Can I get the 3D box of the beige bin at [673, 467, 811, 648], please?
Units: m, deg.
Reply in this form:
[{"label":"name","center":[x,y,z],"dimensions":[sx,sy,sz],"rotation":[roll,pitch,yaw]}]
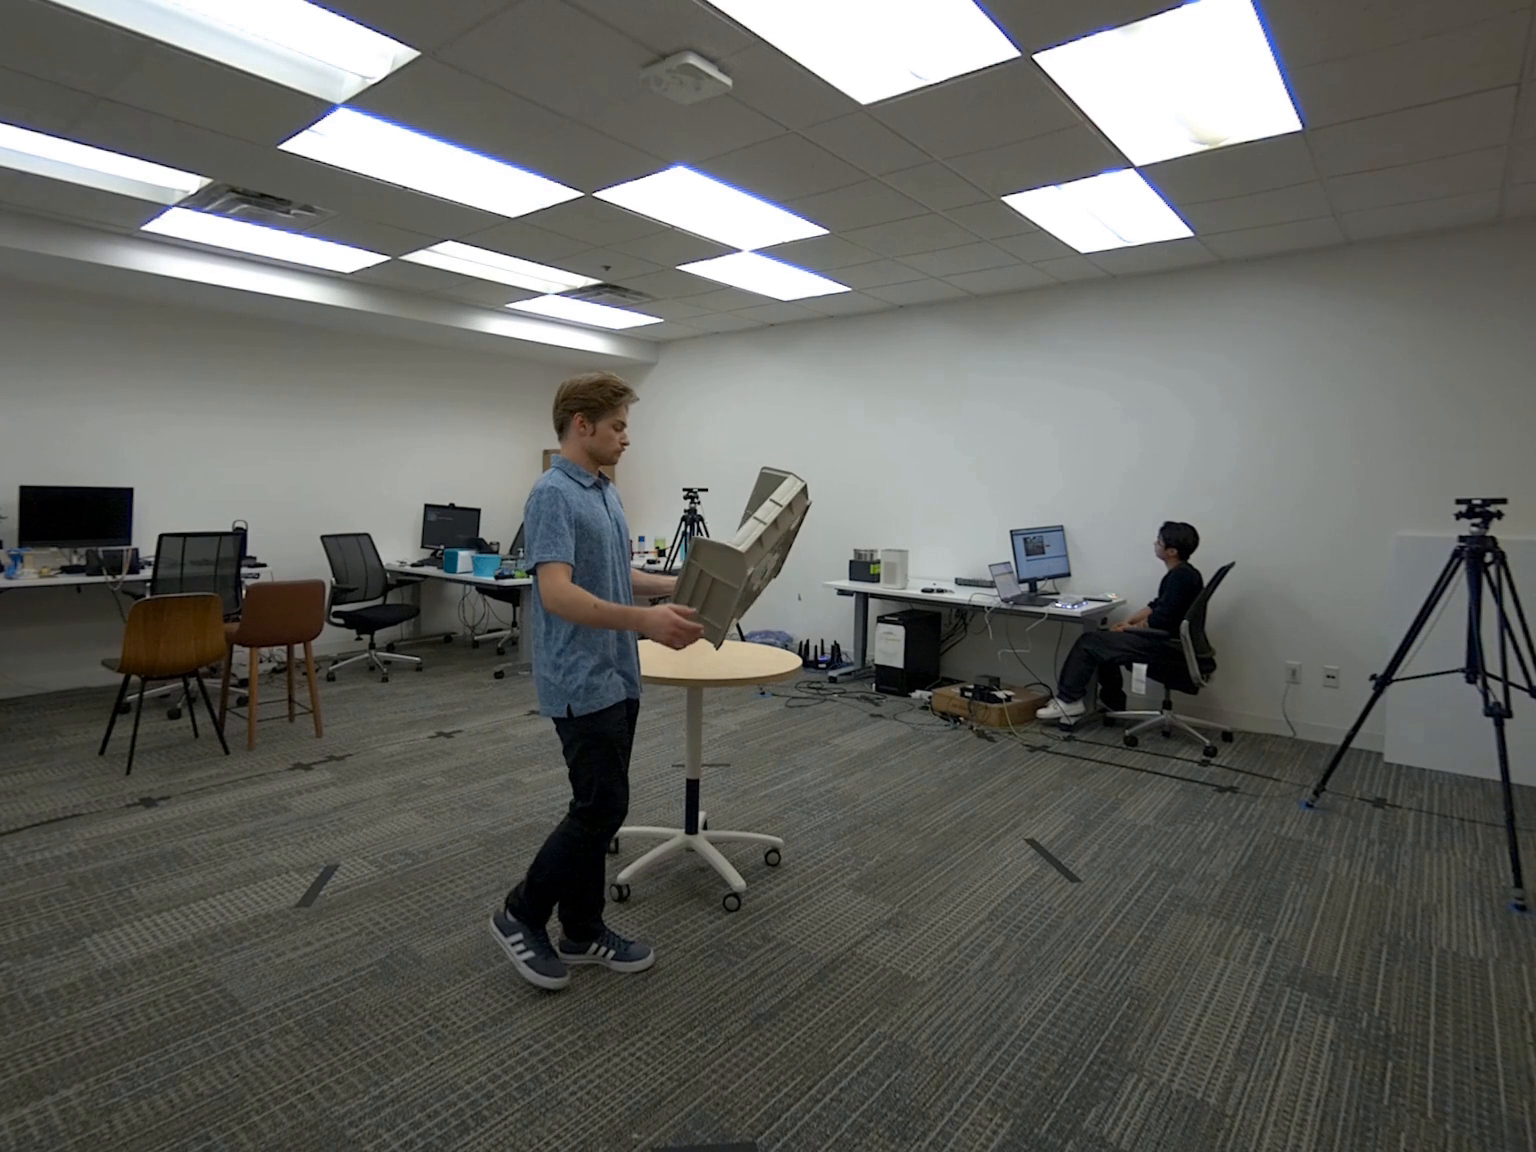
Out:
[{"label":"beige bin","center":[-0.086,-0.068,2.414],"dimensions":[0.191,0.372,0.423],"rotation":[30,42,7]}]
